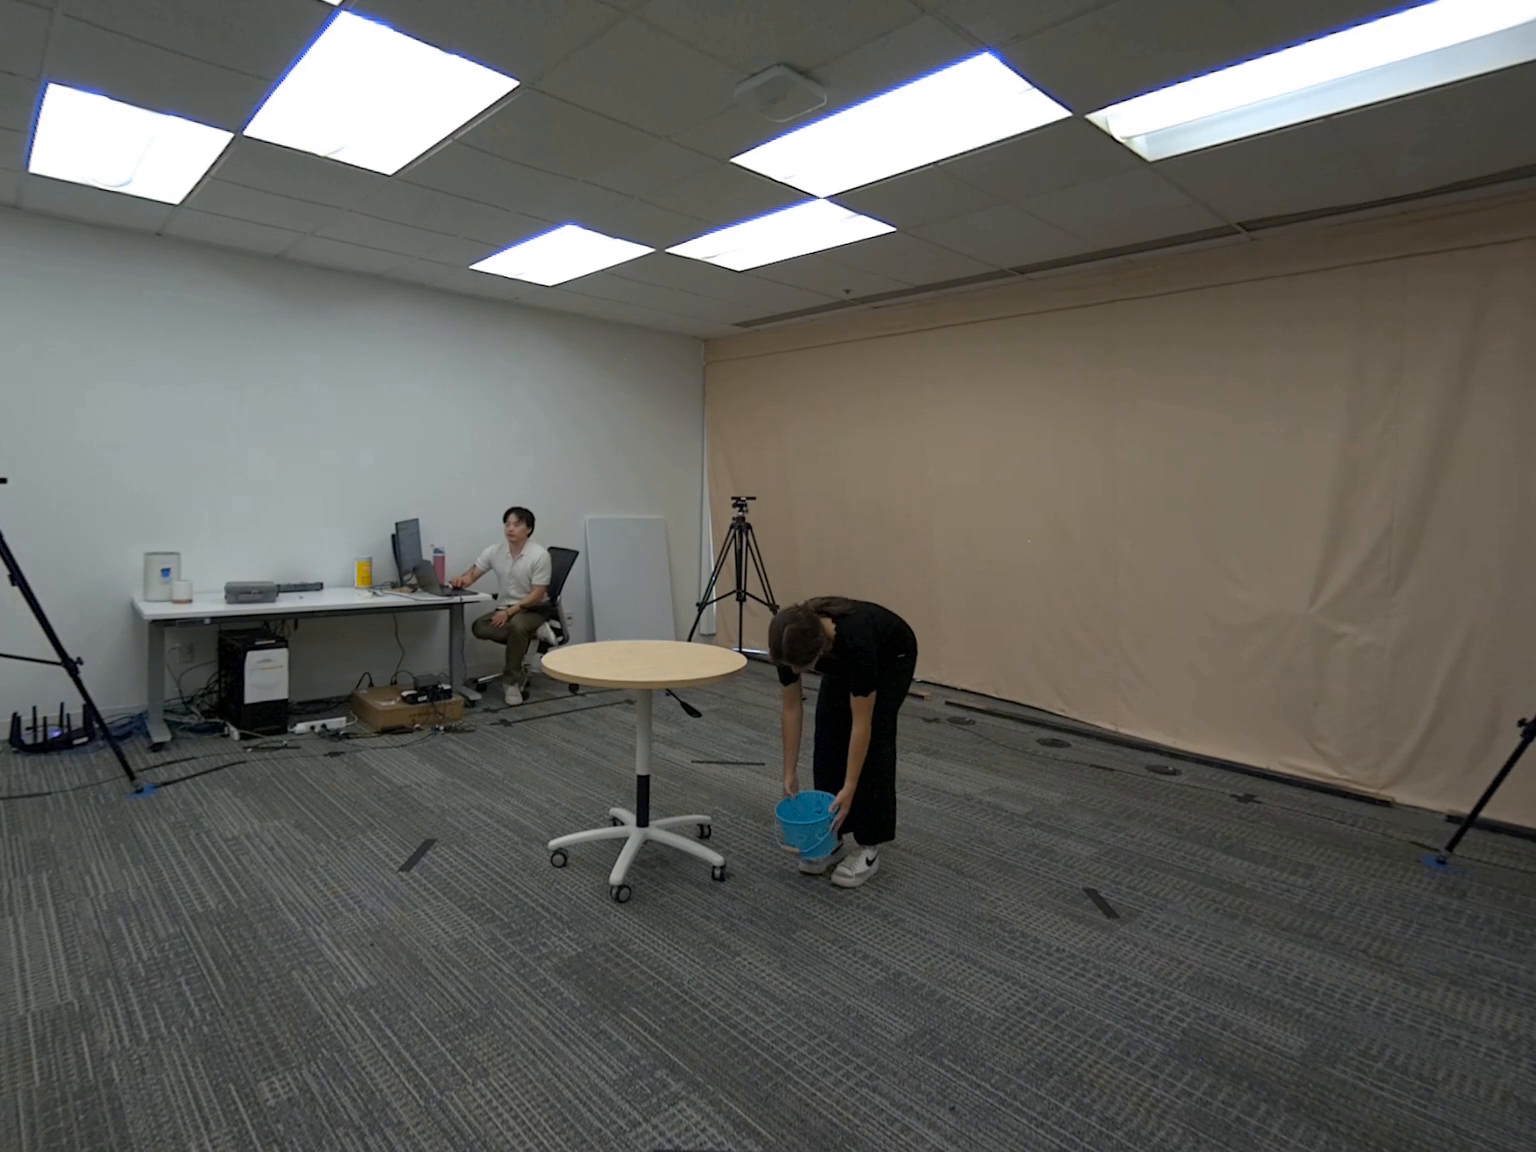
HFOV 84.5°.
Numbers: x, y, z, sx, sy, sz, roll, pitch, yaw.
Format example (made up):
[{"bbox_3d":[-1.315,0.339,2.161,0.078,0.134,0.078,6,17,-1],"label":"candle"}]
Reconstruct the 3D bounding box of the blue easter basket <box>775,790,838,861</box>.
[{"bbox_3d":[0.135,0.896,3.016,0.244,0.154,0.245,-7,11,0],"label":"blue easter basket"}]
